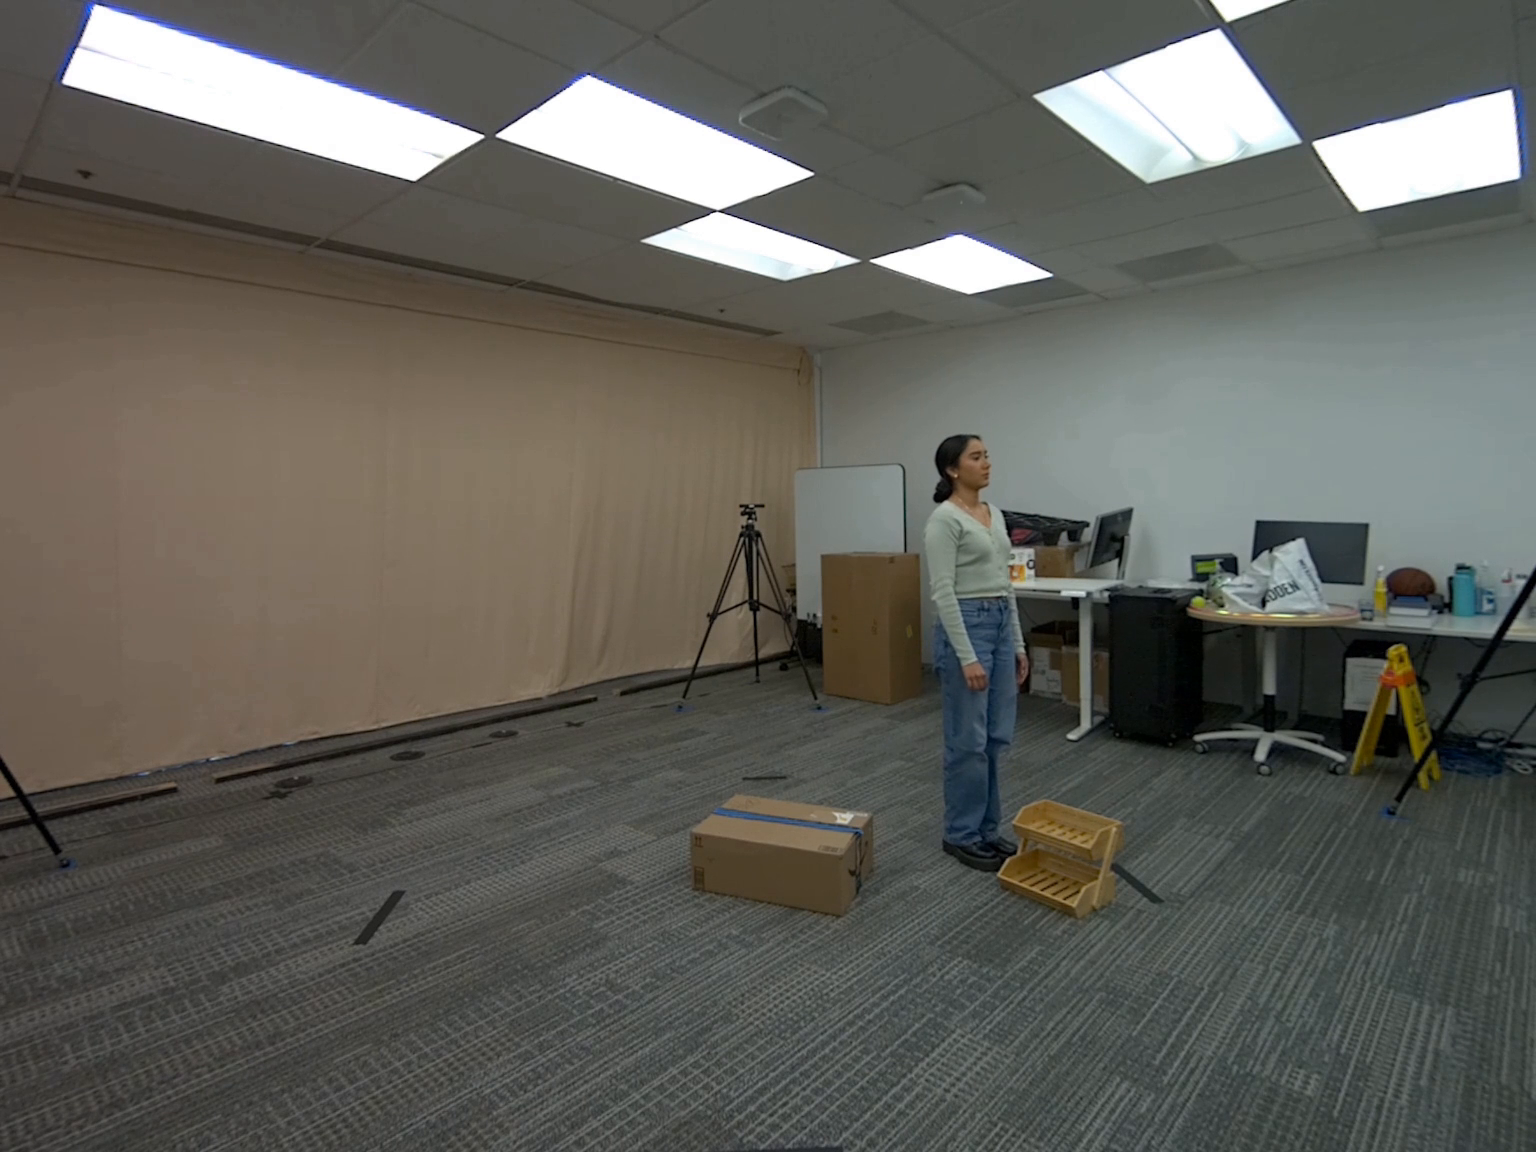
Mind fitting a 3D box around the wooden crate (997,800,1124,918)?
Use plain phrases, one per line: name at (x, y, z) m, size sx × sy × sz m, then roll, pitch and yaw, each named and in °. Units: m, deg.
wooden crate at (1.029, 0.980, 2.986) m, size 0.293 × 0.273 × 0.335 m, roll -2°, pitch 4°, yaw -39°
